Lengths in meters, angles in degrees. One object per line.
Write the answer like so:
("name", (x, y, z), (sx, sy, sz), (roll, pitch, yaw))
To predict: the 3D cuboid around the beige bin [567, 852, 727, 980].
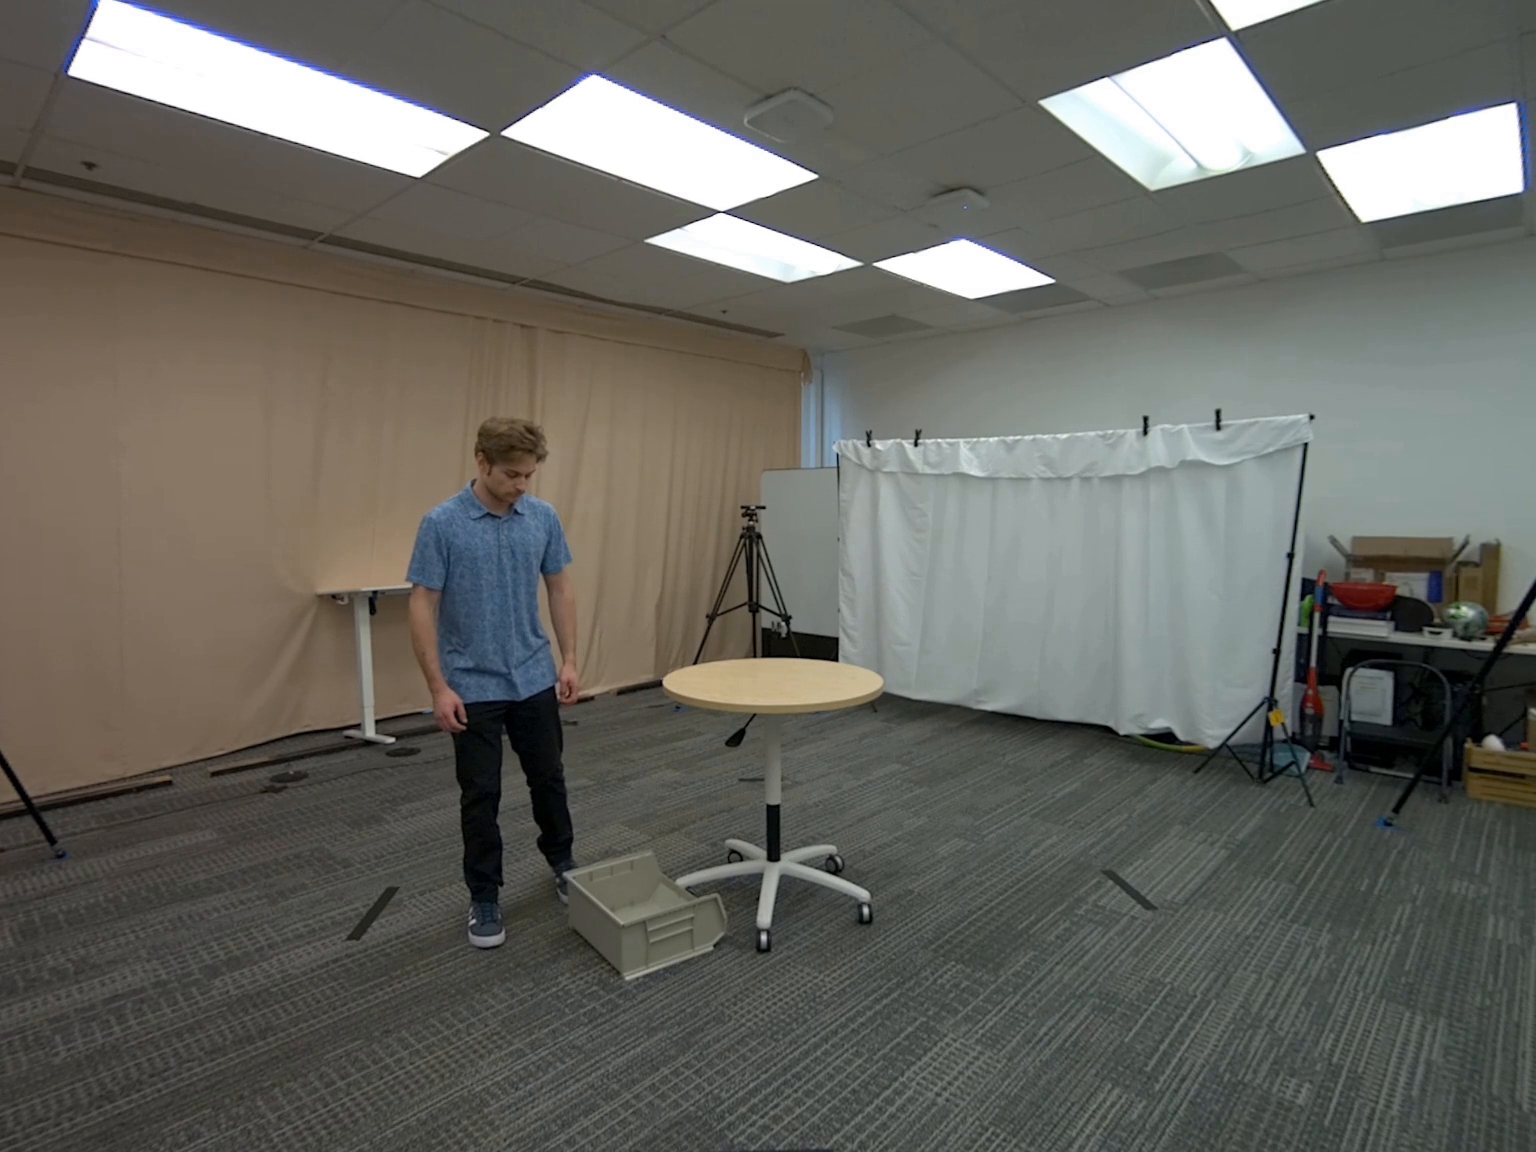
("beige bin", (-0.409, 1.082, 2.725), (0.366, 0.188, 0.436), (-4, 6, -36))
